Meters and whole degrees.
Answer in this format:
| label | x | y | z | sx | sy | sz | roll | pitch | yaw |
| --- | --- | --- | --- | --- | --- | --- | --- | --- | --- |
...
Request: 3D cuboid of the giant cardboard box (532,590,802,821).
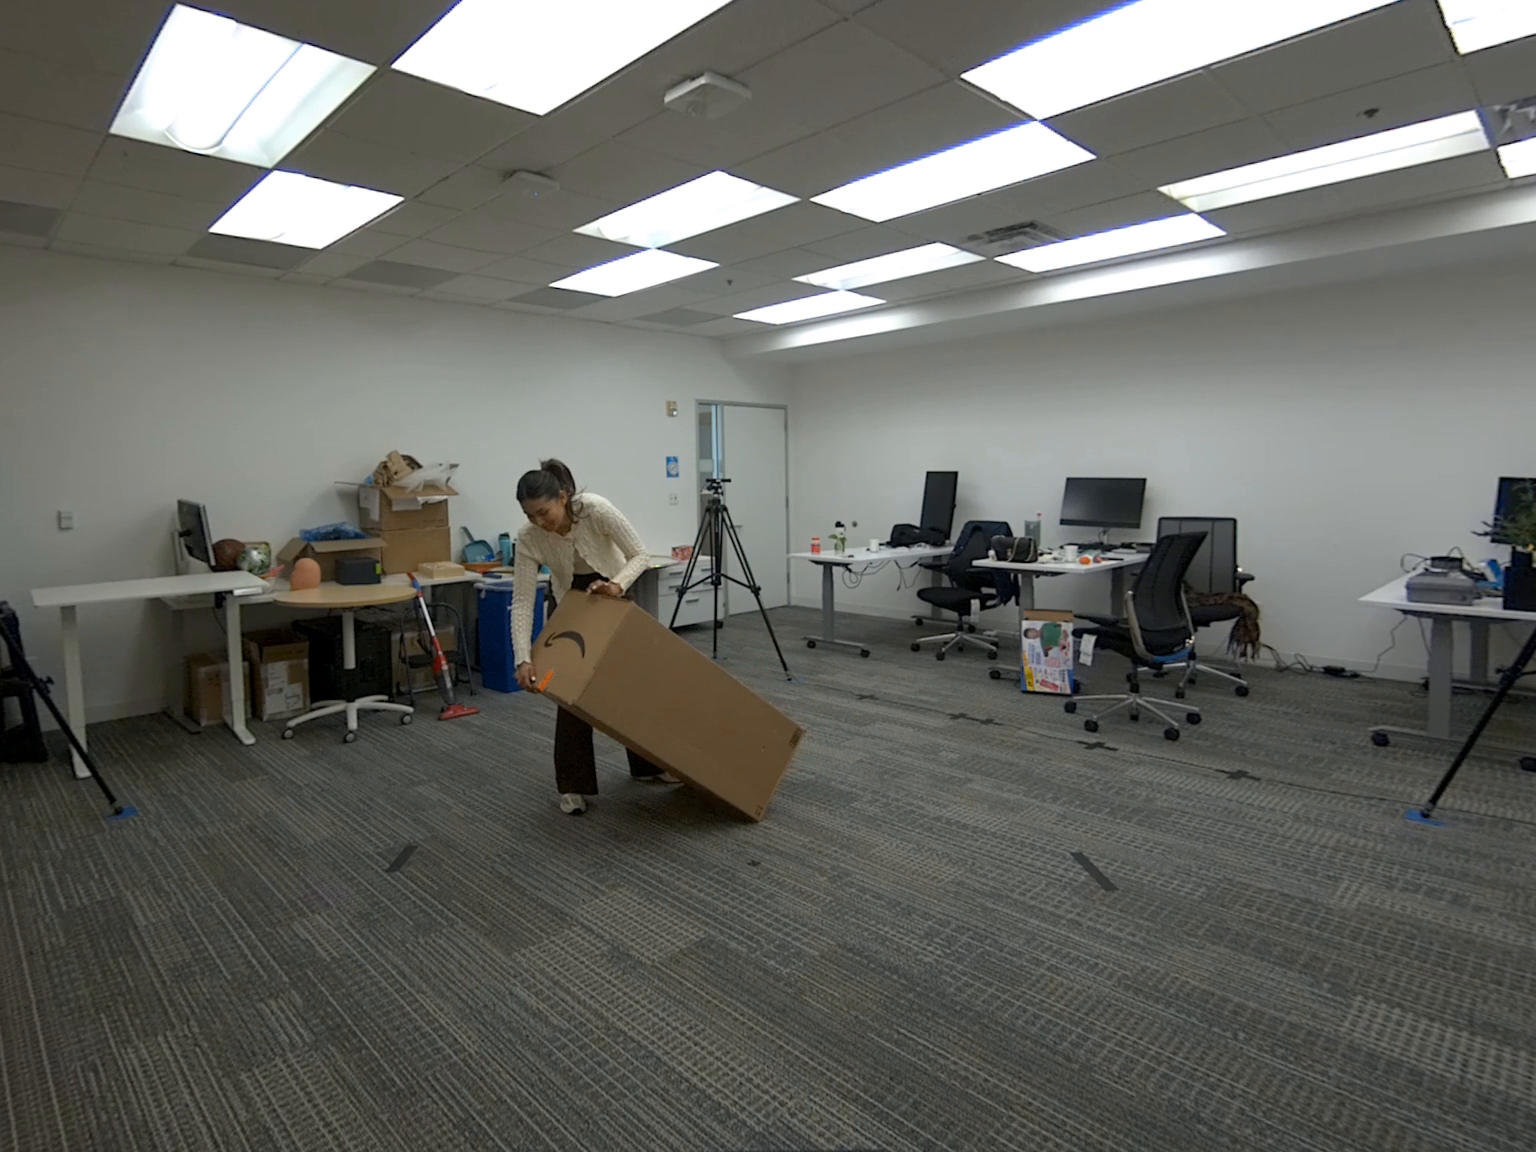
| label | x | y | z | sx | sy | sz | roll | pitch | yaw |
| --- | --- | --- | --- | --- | --- | --- | --- | --- | --- |
| giant cardboard box | -0.435 | 0.528 | 3.519 | 0.992 | 0.428 | 0.594 | 41 | -19 | -30 |
